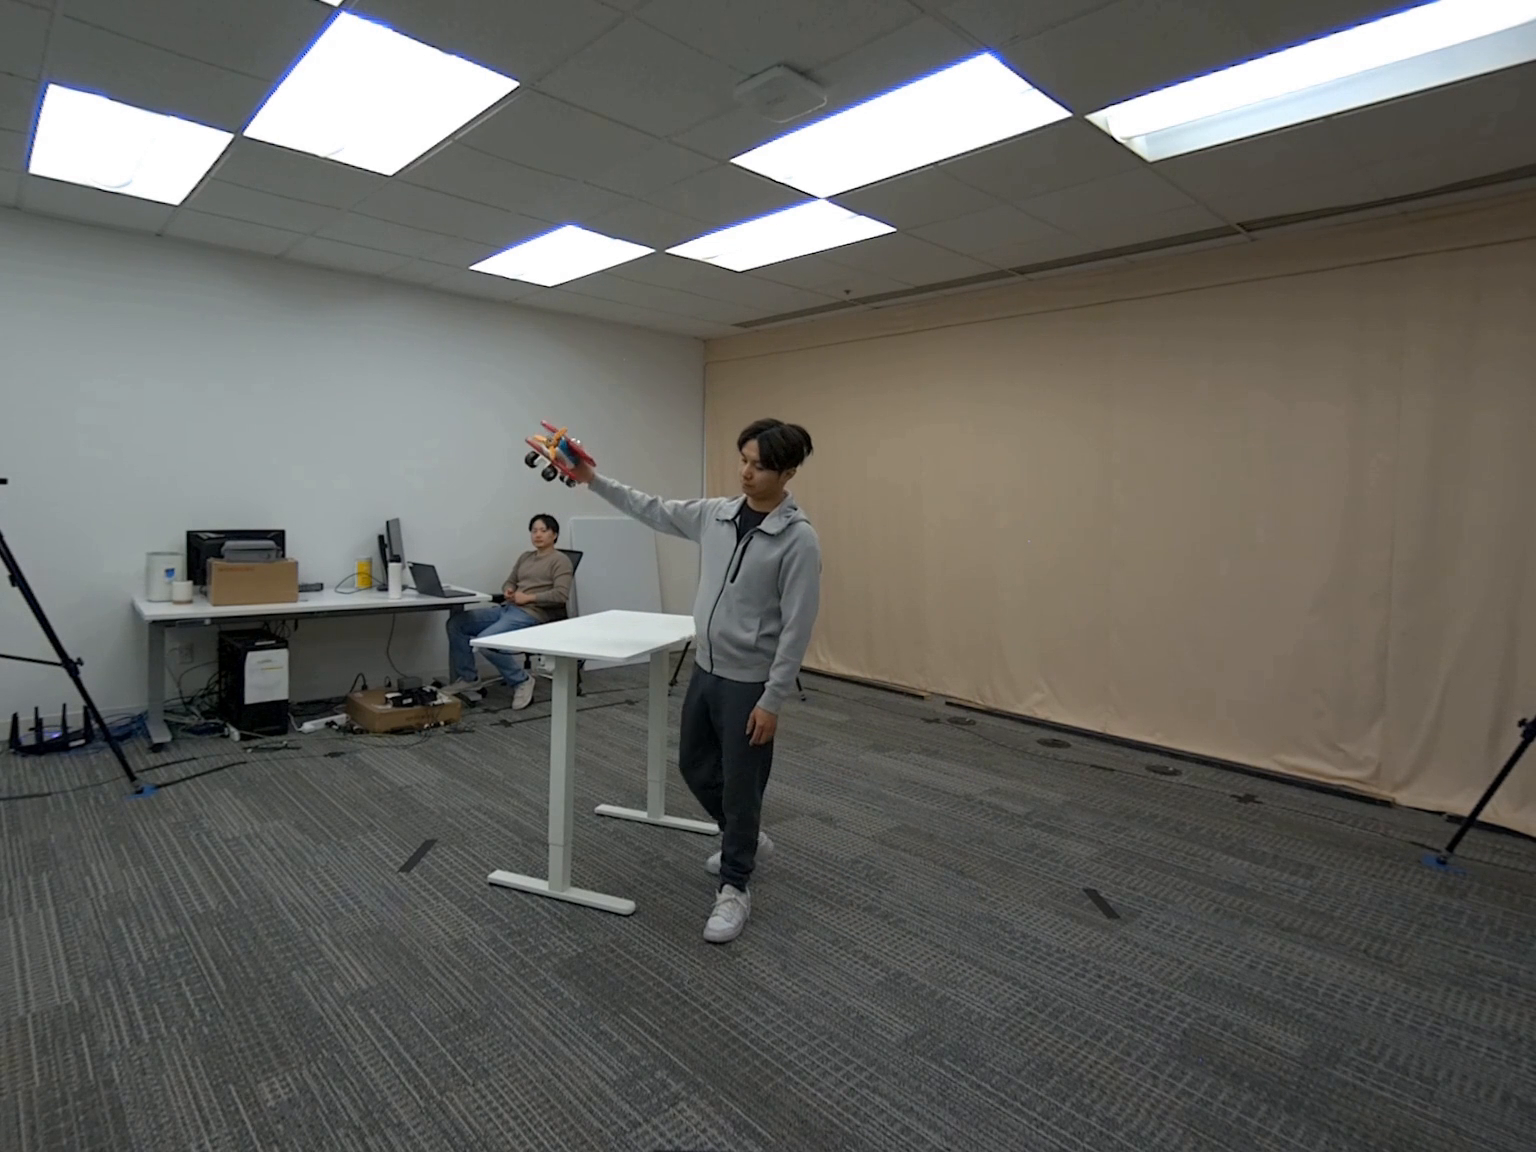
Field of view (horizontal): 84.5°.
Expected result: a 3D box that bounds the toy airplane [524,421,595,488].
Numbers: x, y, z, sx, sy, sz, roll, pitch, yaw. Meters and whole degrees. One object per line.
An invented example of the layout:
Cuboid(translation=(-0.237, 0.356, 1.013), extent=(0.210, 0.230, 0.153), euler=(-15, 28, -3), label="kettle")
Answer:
Cuboid(translation=(-0.730, -0.394, 2.884), extent=(0.249, 0.156, 0.262), euler=(34, 6, -9), label="toy airplane")
